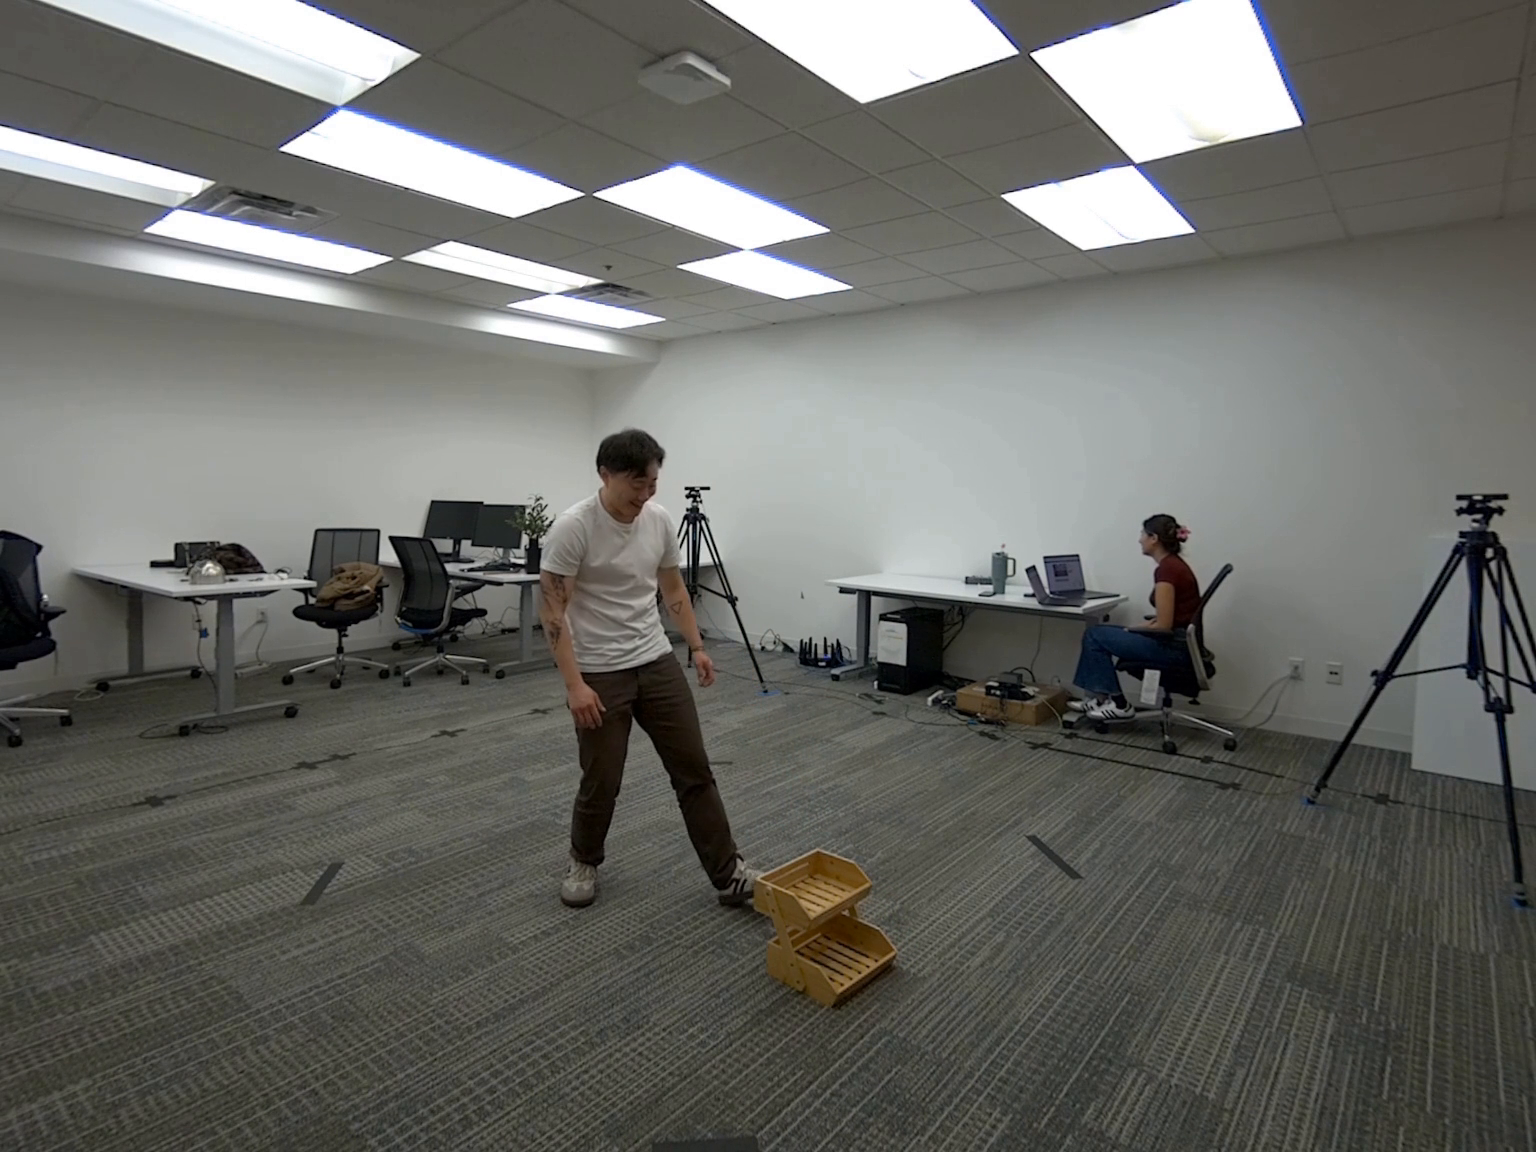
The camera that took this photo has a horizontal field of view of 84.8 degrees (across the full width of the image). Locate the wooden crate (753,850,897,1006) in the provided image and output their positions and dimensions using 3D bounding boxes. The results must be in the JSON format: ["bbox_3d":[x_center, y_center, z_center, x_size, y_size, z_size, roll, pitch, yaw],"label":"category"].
[{"bbox_3d":[0.167,1.004,2.468,0.312,0.272,0.315,4,5,42],"label":"wooden crate"}]
